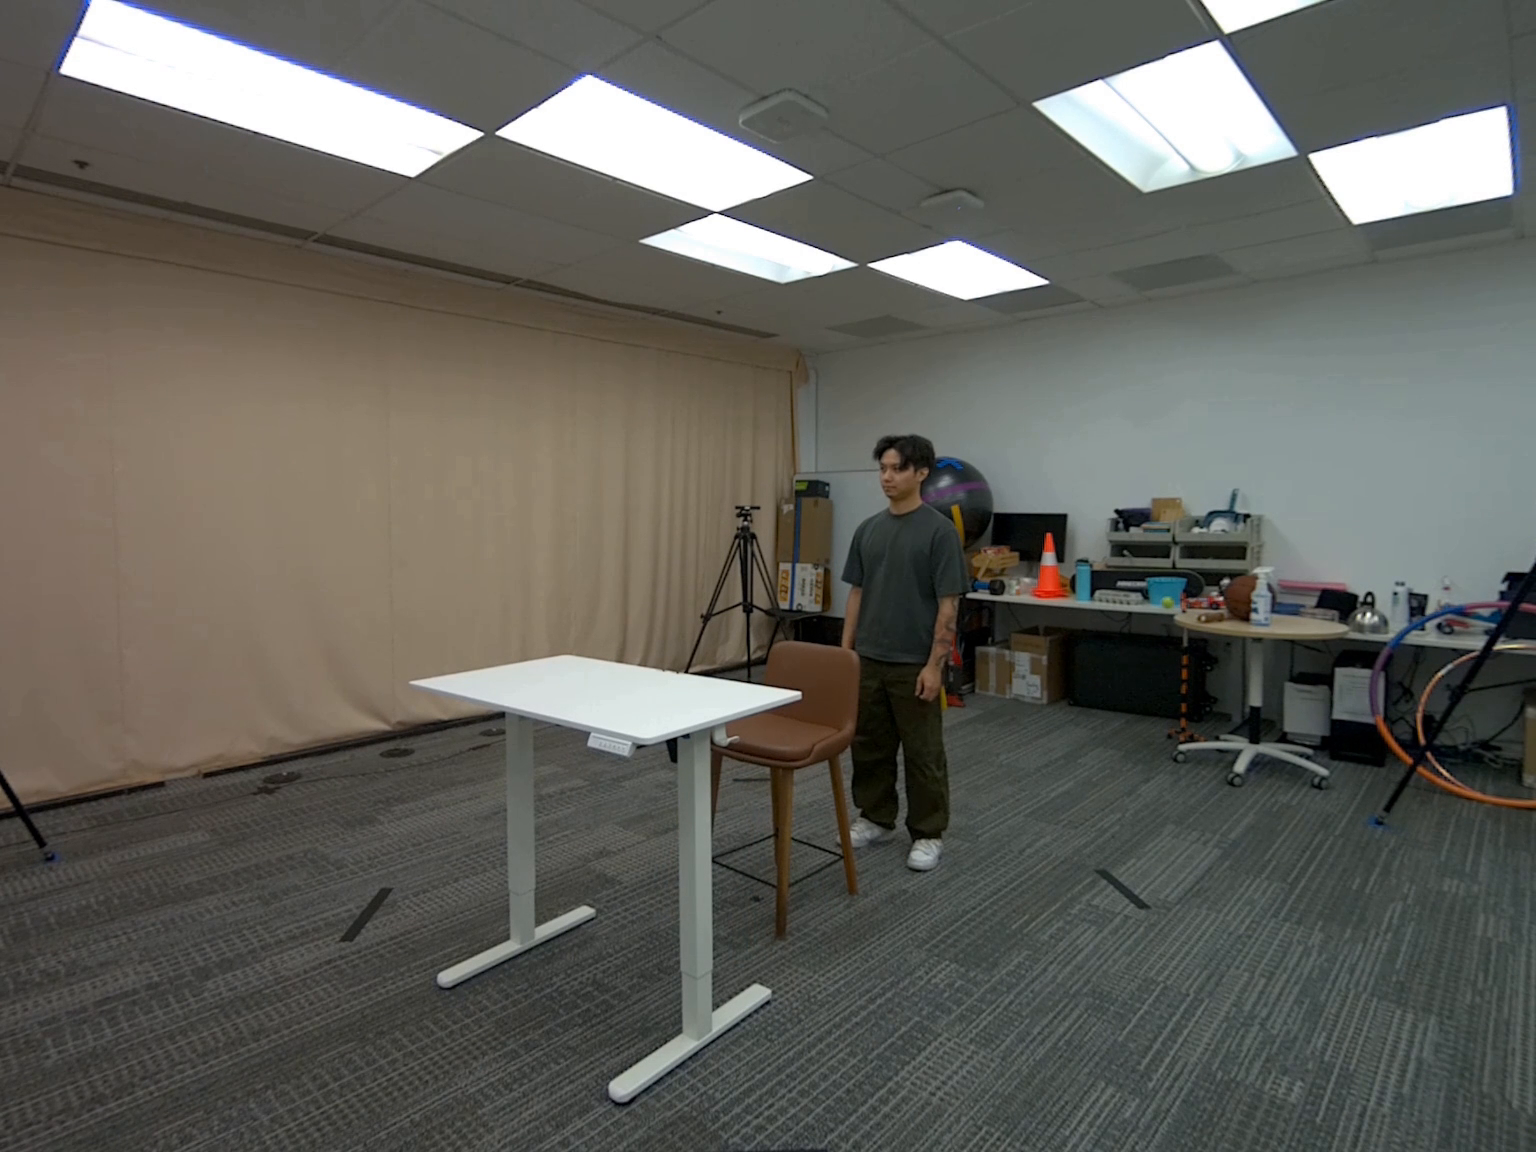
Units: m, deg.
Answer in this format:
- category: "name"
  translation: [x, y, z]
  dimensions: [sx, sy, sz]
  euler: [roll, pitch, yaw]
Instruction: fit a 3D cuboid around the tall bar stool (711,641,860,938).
- category: "tall bar stool"
  translation: [0.054, 0.706, 2.982]
  dimensions: [0.472, 0.888, 0.453]
  euler: [3, 3, 43]
